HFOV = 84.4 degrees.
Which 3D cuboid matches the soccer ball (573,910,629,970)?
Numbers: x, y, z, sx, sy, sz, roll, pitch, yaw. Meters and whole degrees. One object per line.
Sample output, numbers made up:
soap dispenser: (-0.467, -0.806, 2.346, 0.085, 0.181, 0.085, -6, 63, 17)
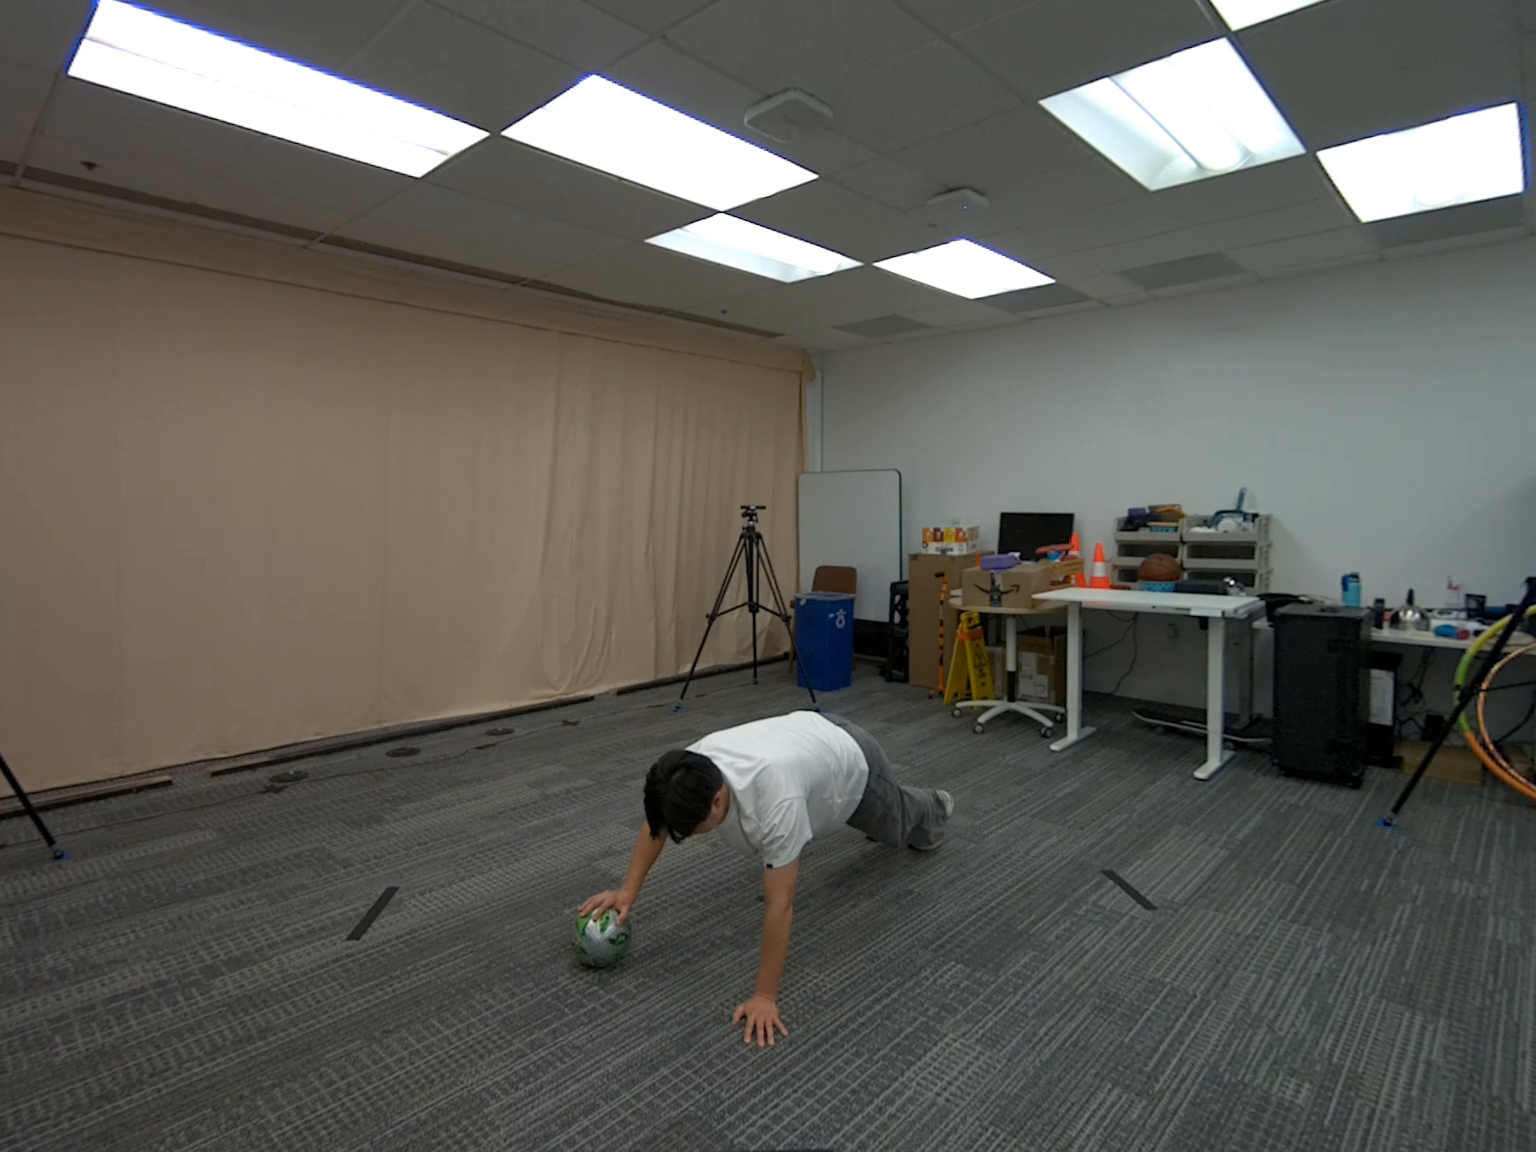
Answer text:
soccer ball: (-0.502, 1.096, 2.568, 0.187, 0.187, 0.188, 0, 4, -2)
